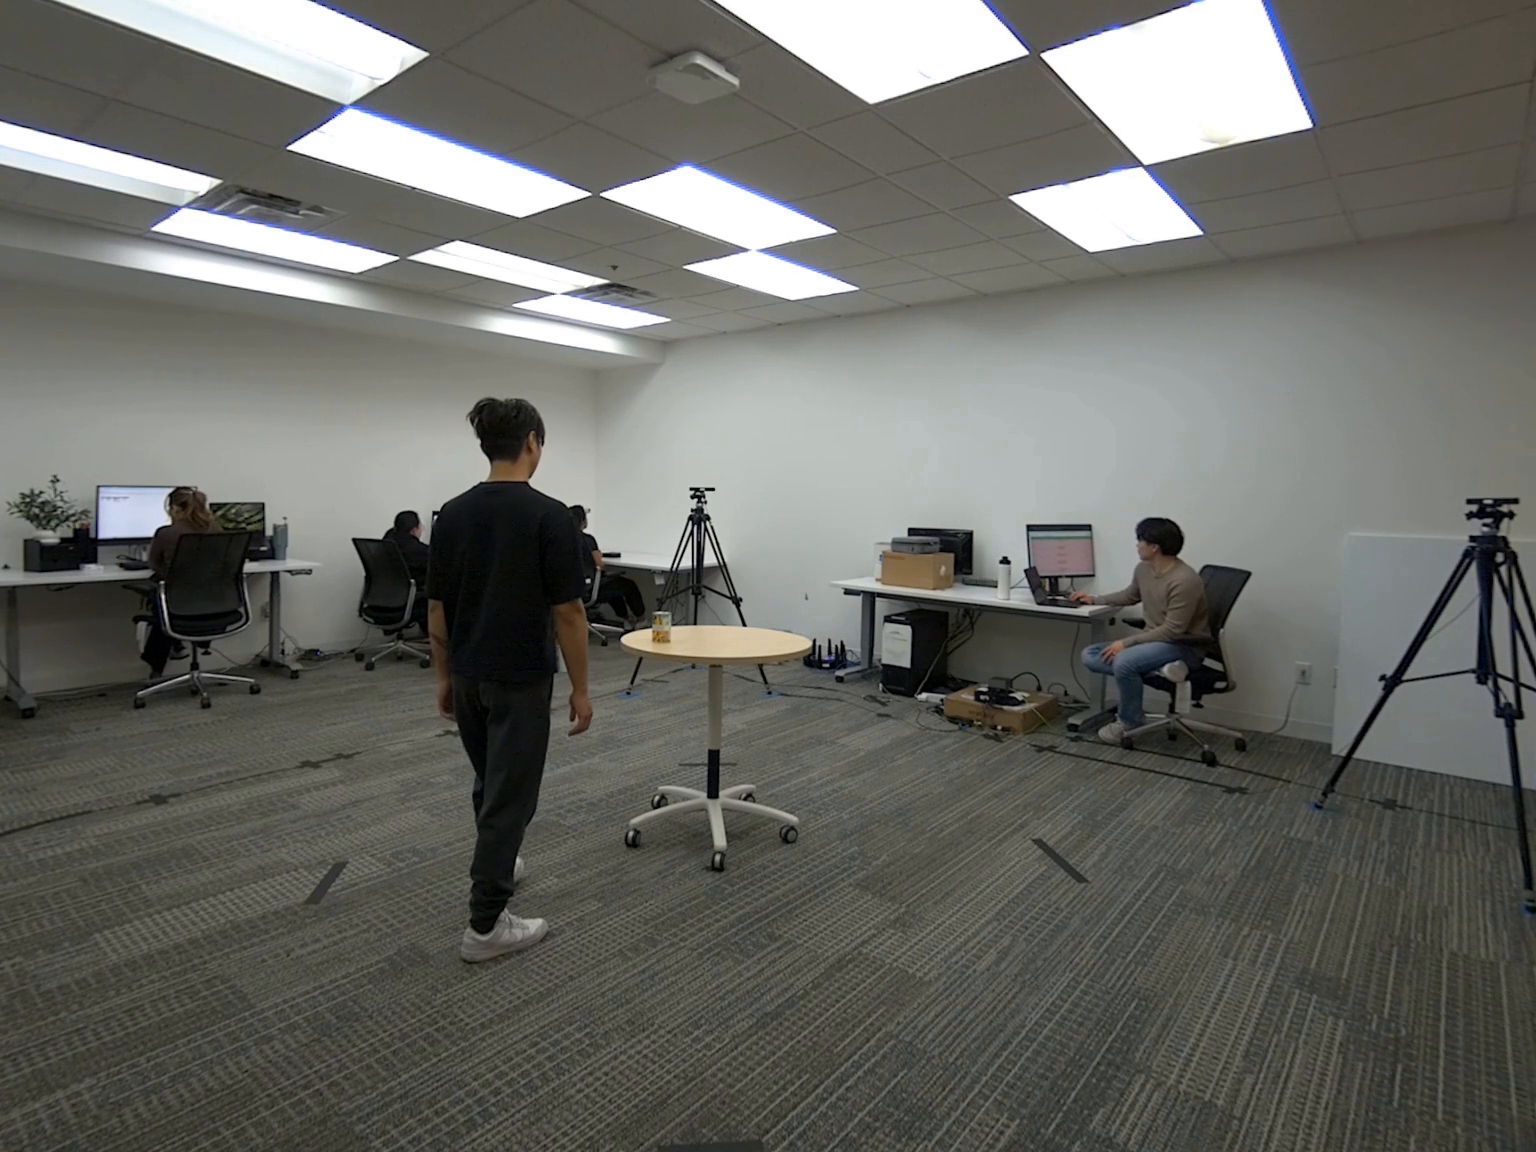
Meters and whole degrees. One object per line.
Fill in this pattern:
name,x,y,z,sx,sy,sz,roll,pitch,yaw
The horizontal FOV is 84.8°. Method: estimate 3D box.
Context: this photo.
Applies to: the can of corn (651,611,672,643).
can of corn,-0.432,0.200,3.354,0.074,0.111,0.074,2,3,-2
